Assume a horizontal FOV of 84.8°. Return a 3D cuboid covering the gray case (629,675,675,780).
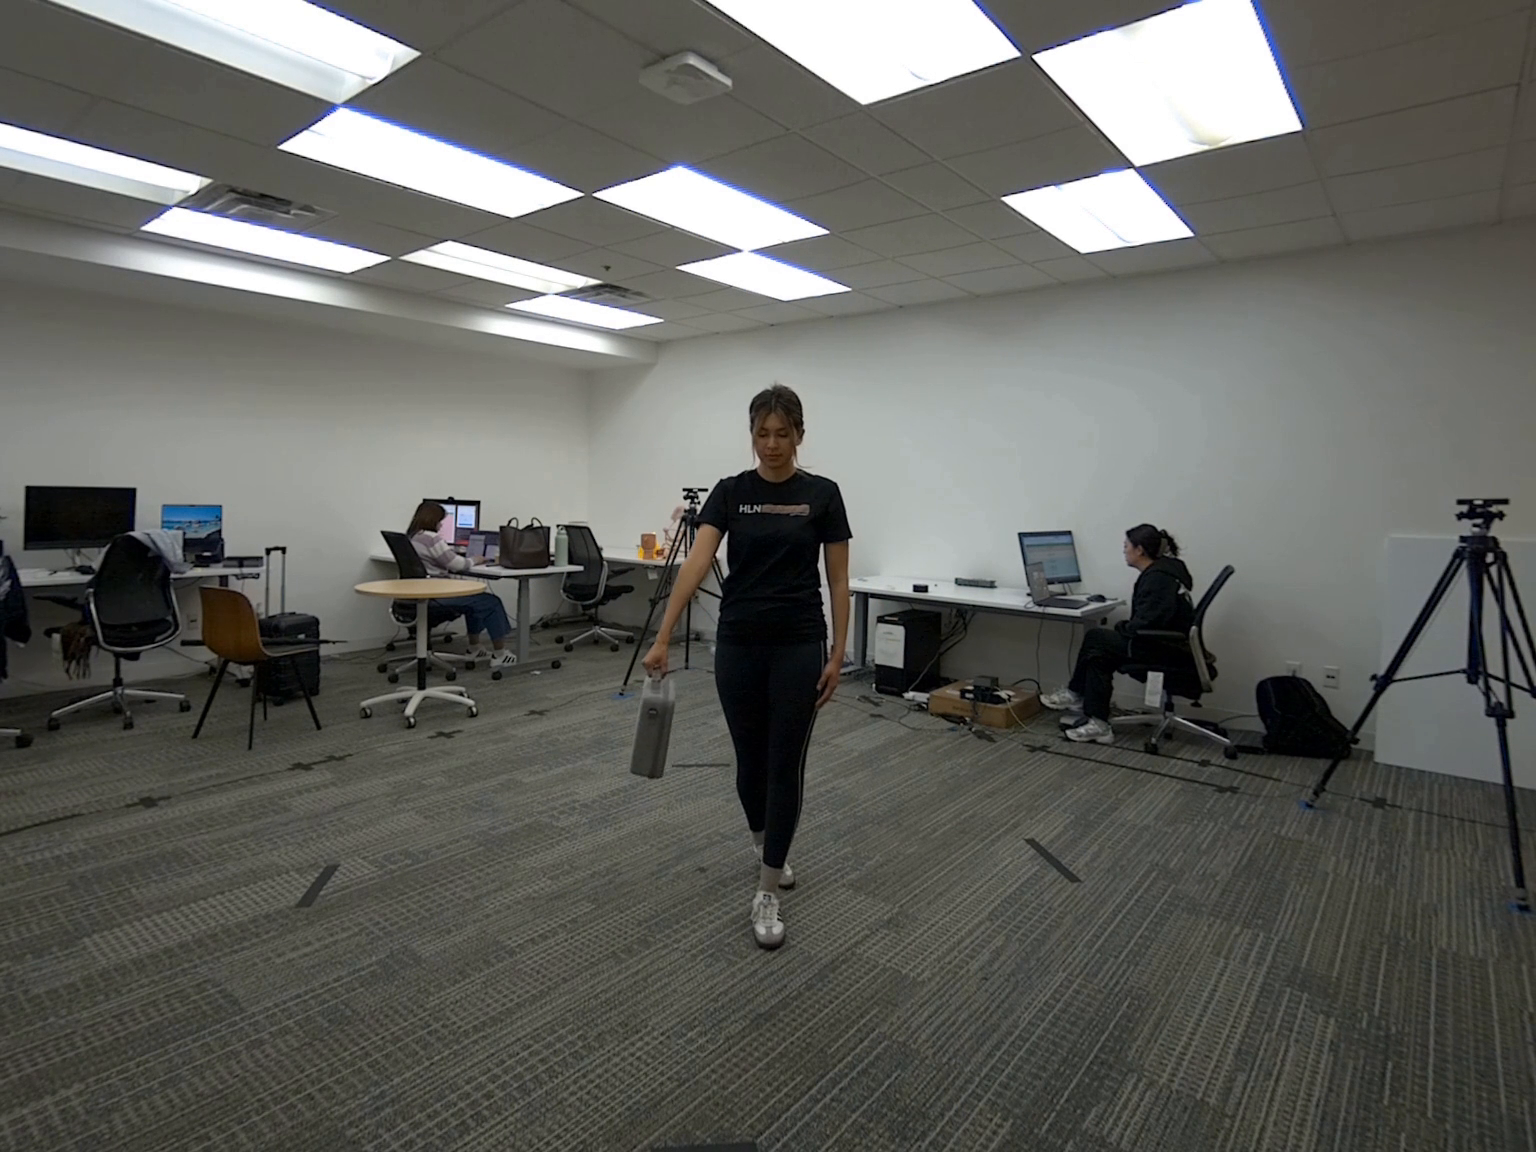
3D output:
[{"bbox_3d":[-0.354,0.450,2.592,0.104,0.260,0.259,9,5,-5],"label":"gray case"}]
